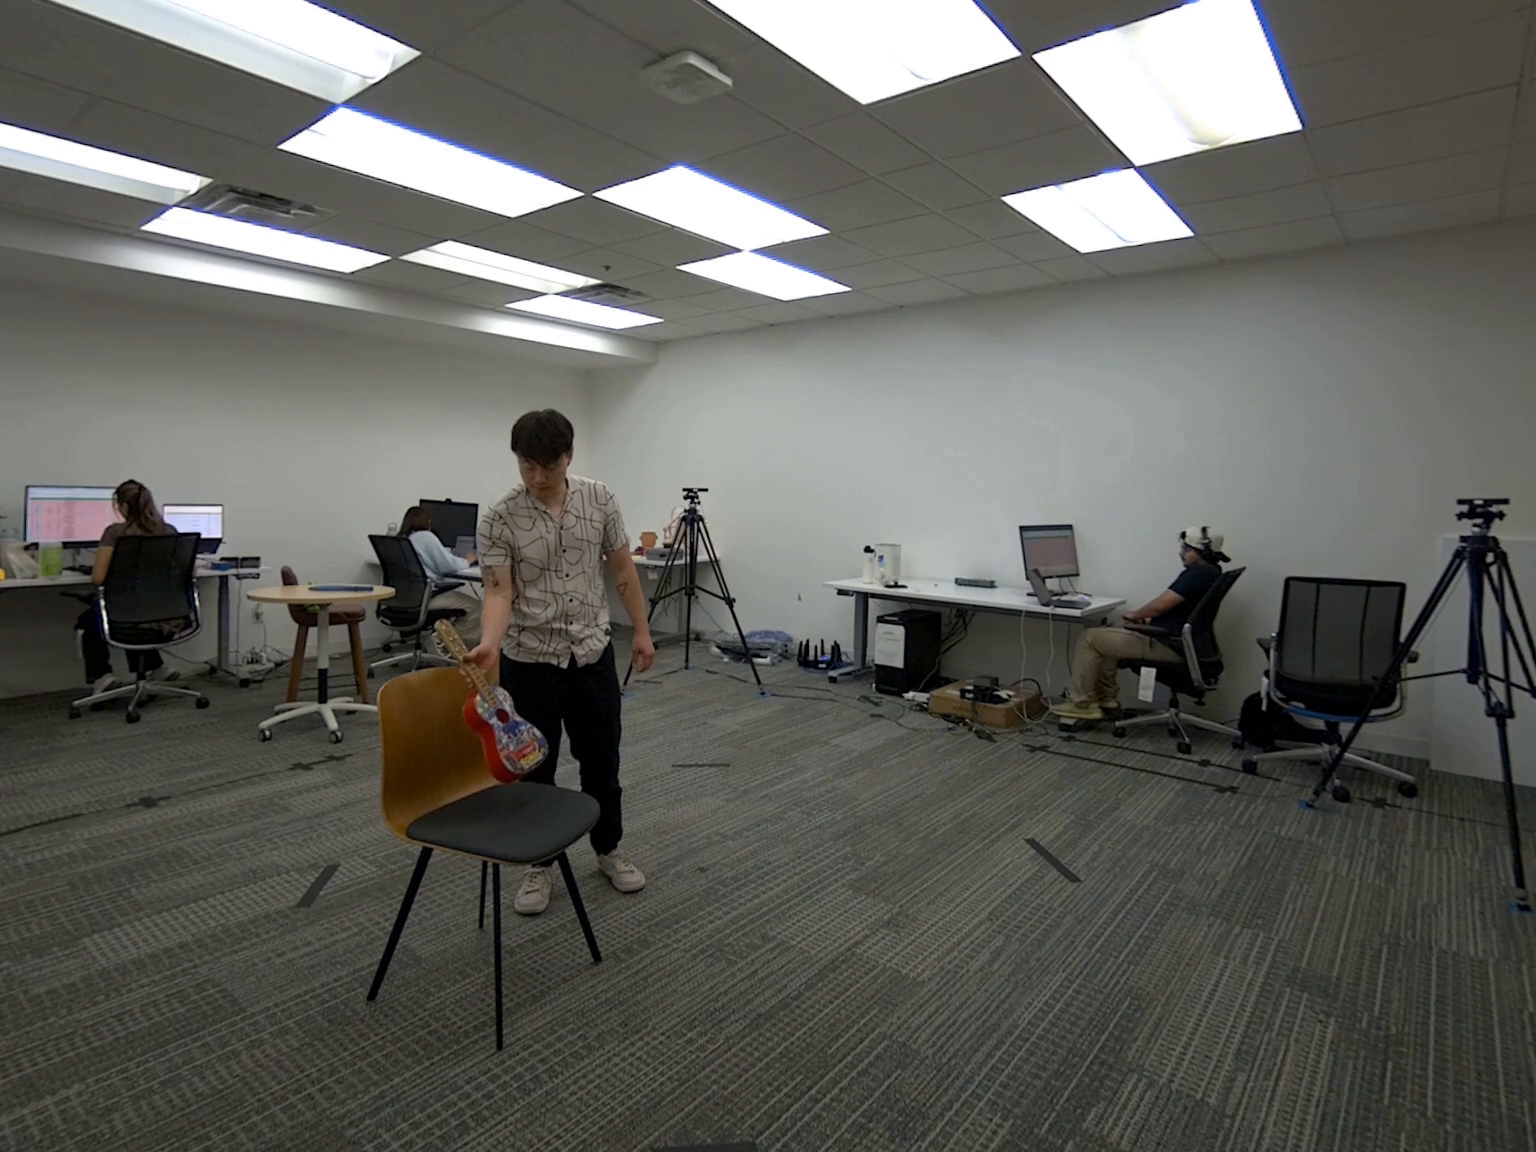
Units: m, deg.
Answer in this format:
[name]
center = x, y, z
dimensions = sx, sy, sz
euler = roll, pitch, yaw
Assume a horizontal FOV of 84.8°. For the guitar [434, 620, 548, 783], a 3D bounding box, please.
[guitar]
center = -0.811, 0.345, 2.439
dimensions = 0.071, 0.507, 0.188
euler = -37, -14, 23
